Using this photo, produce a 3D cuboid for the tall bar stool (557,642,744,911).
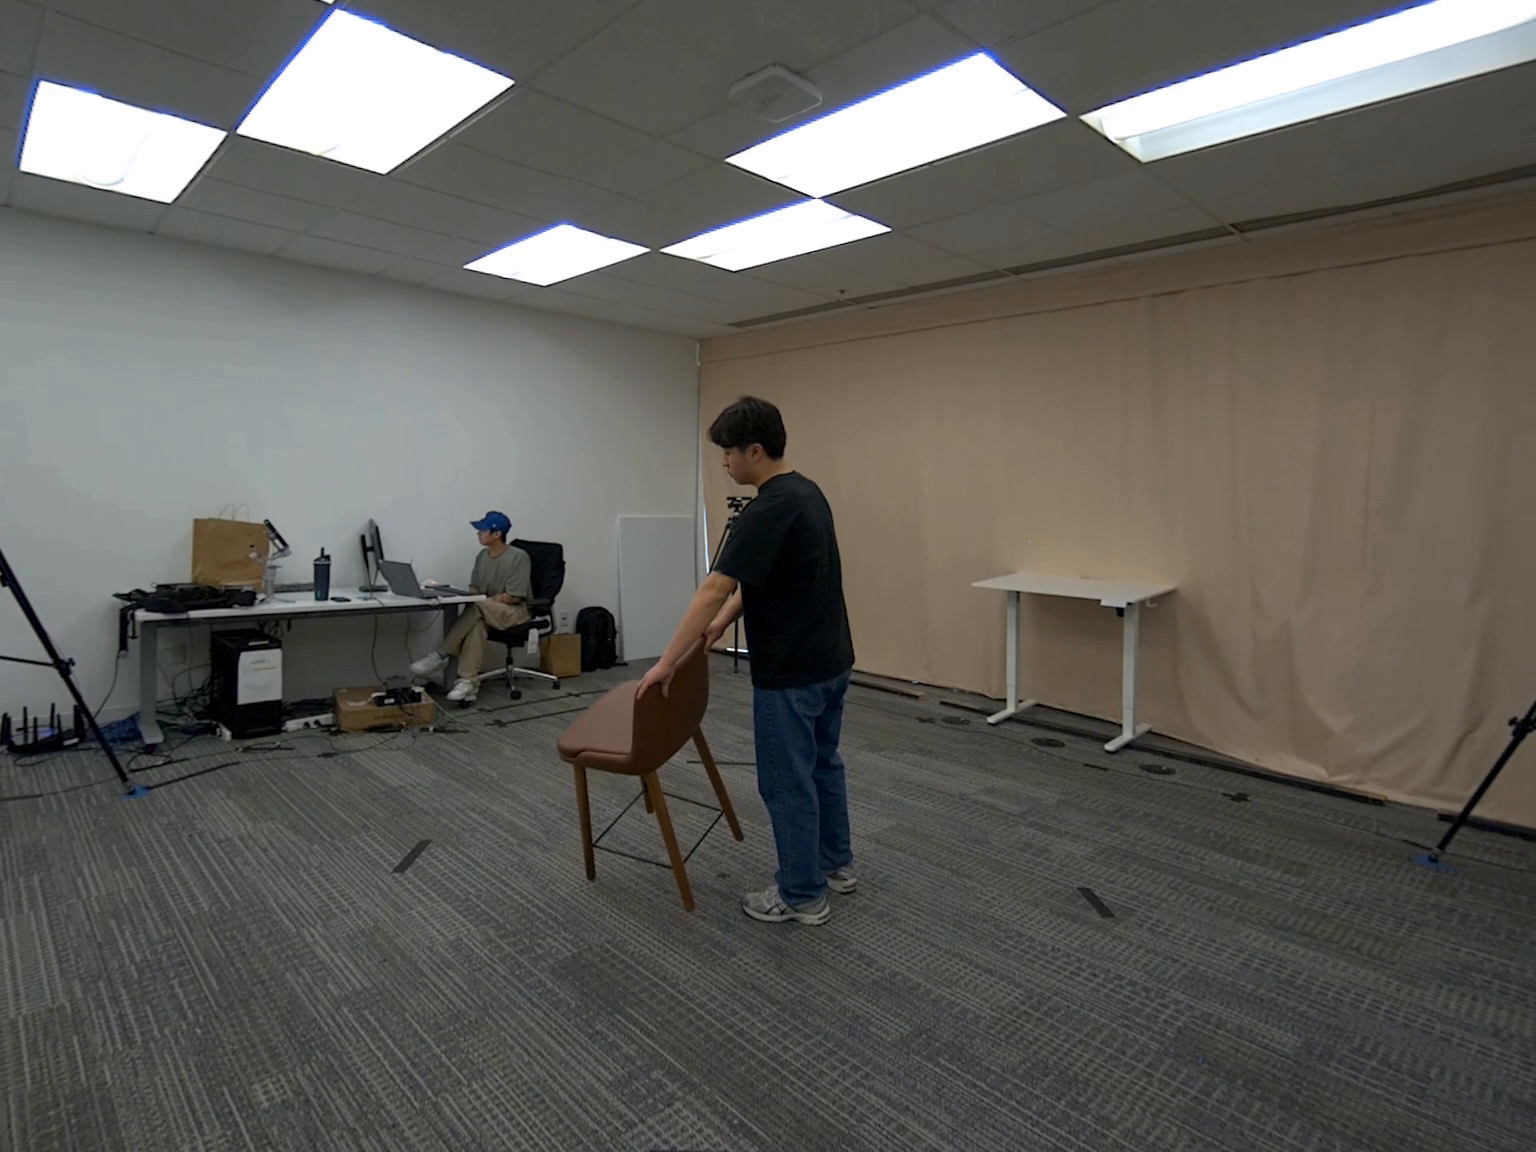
[{"bbox_3d":[-0.421,0.642,2.930,0.478,0.874,0.454,7,26,30],"label":"tall bar stool"}]
